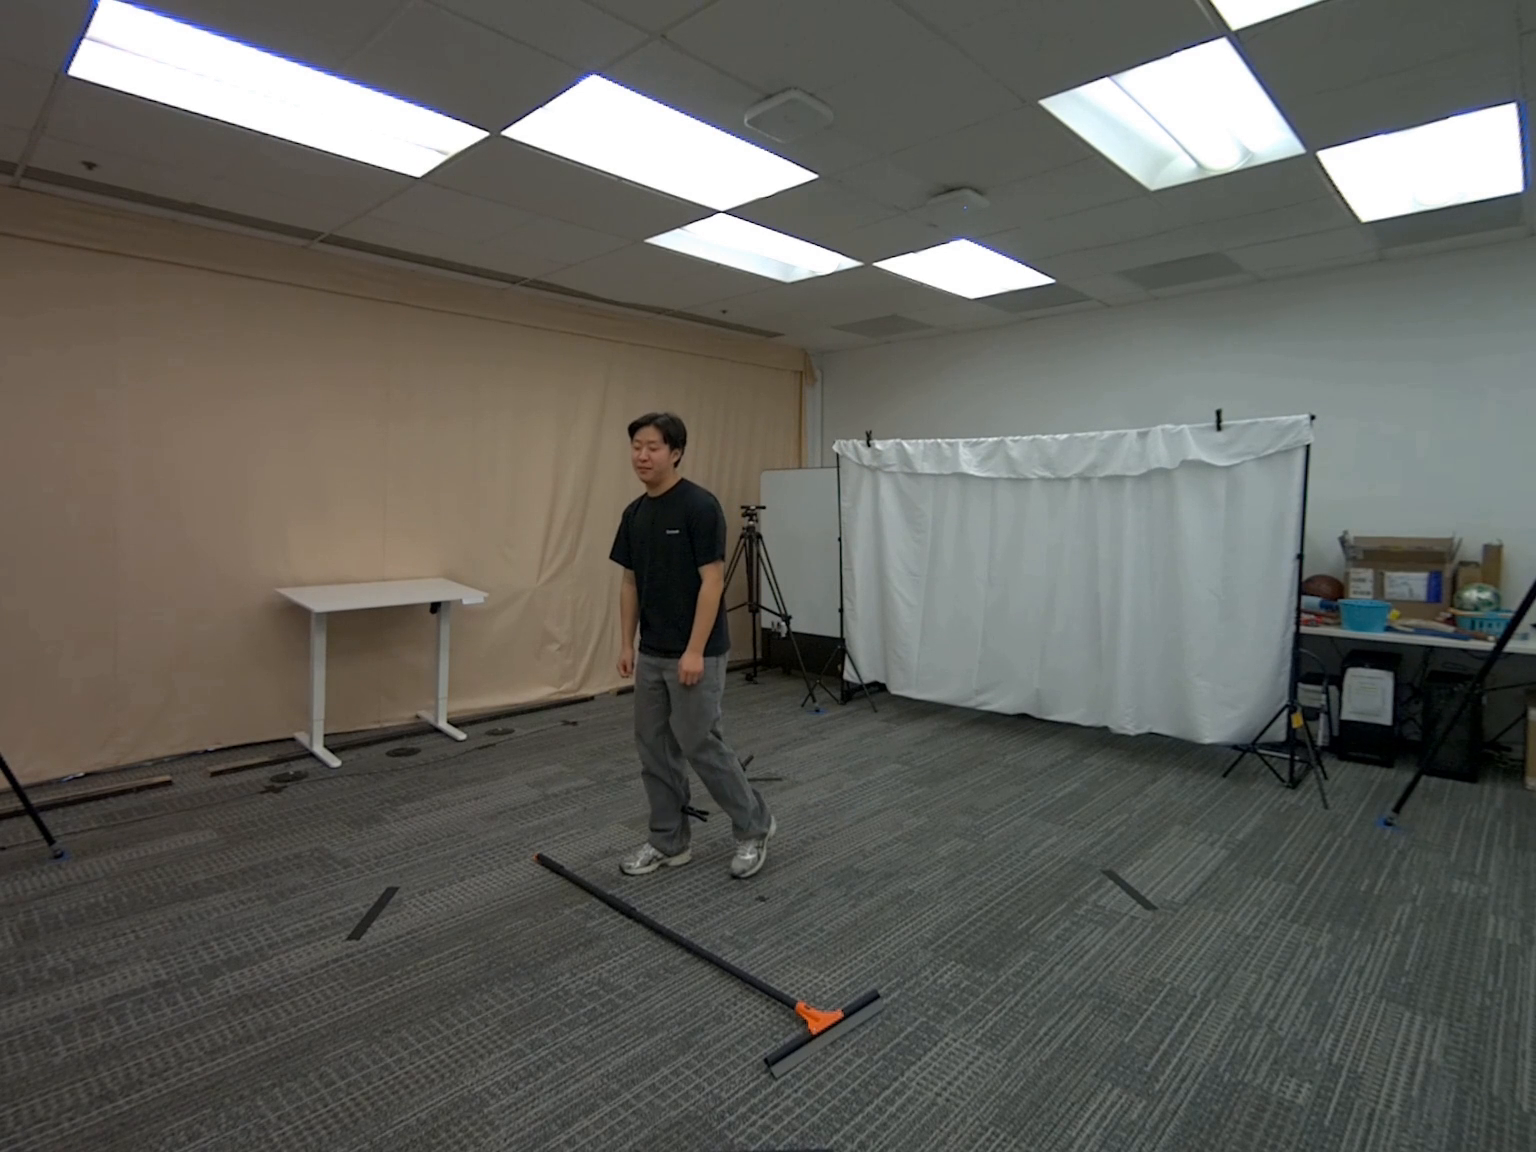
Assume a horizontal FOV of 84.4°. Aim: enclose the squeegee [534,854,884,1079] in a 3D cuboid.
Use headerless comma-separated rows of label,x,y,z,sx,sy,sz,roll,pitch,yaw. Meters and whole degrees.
squeegee,-0.366,1.133,2.761,0.424,0.053,1.588,-3,4,-43
